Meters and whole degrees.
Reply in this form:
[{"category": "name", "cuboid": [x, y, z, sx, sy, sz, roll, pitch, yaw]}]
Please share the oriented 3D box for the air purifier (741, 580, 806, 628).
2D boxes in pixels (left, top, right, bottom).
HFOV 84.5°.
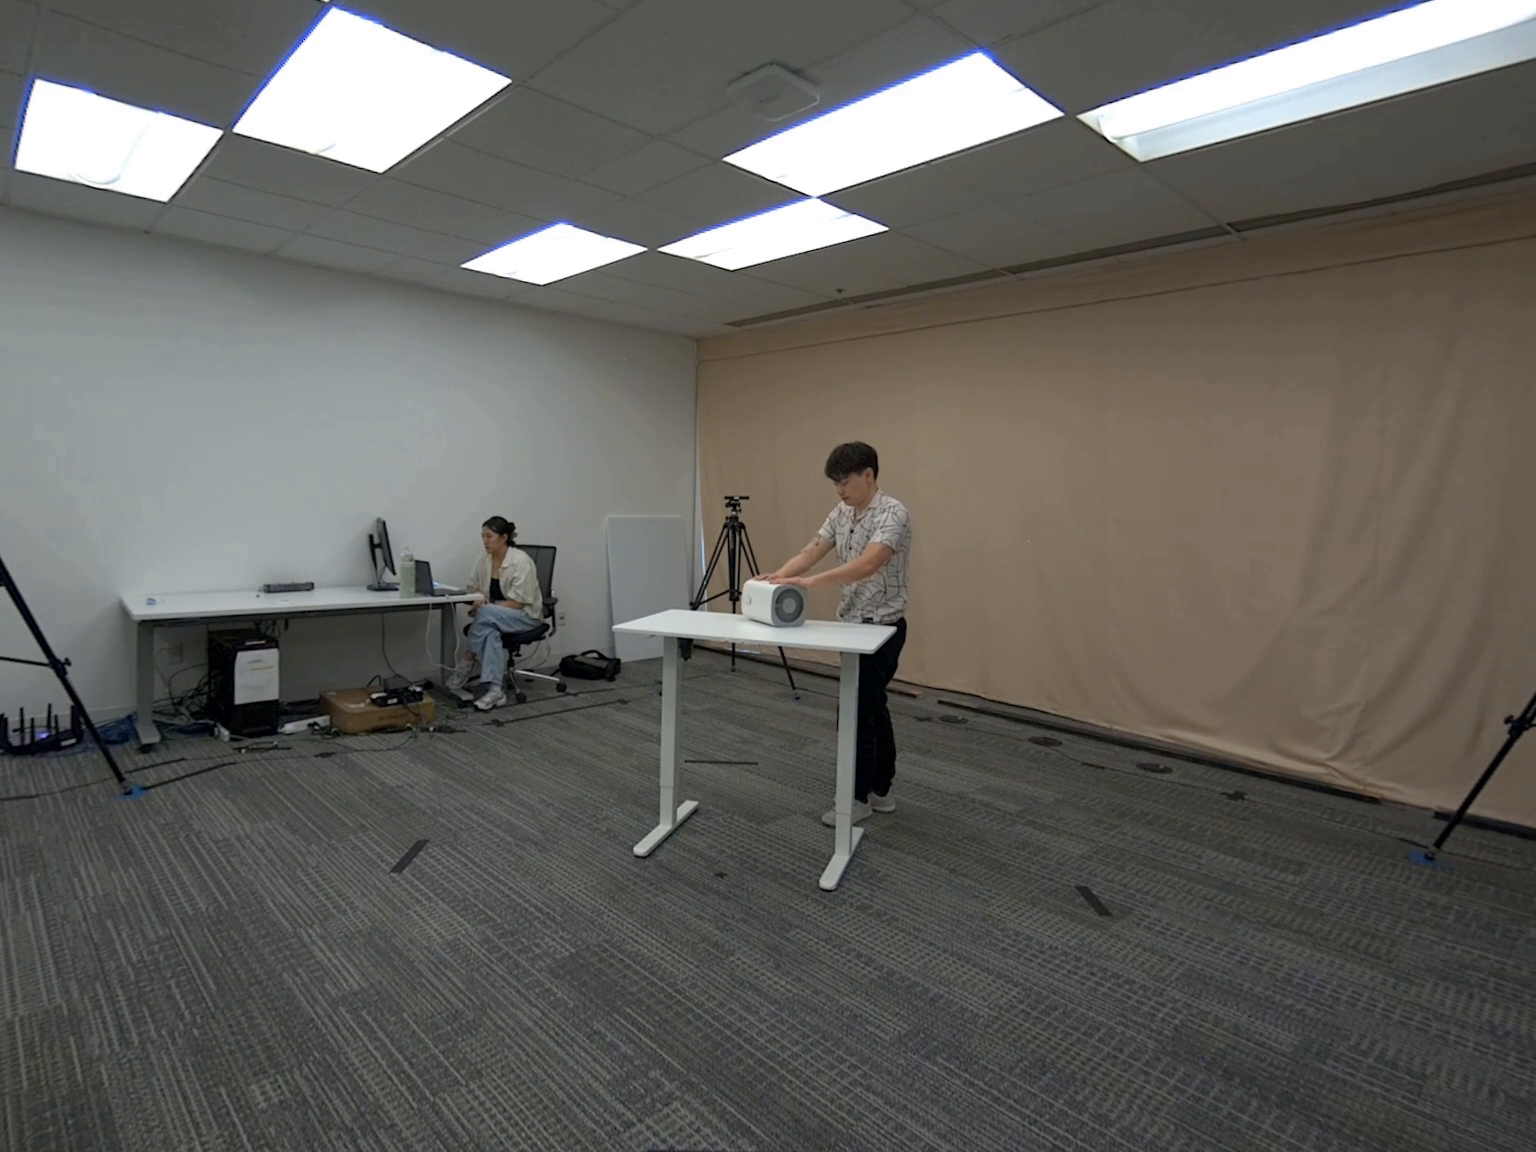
[{"category": "air purifier", "cuboid": [0.012, 0.107, 3.466, 0.168, 0.171, 0.271, 2, 4, -30]}]
